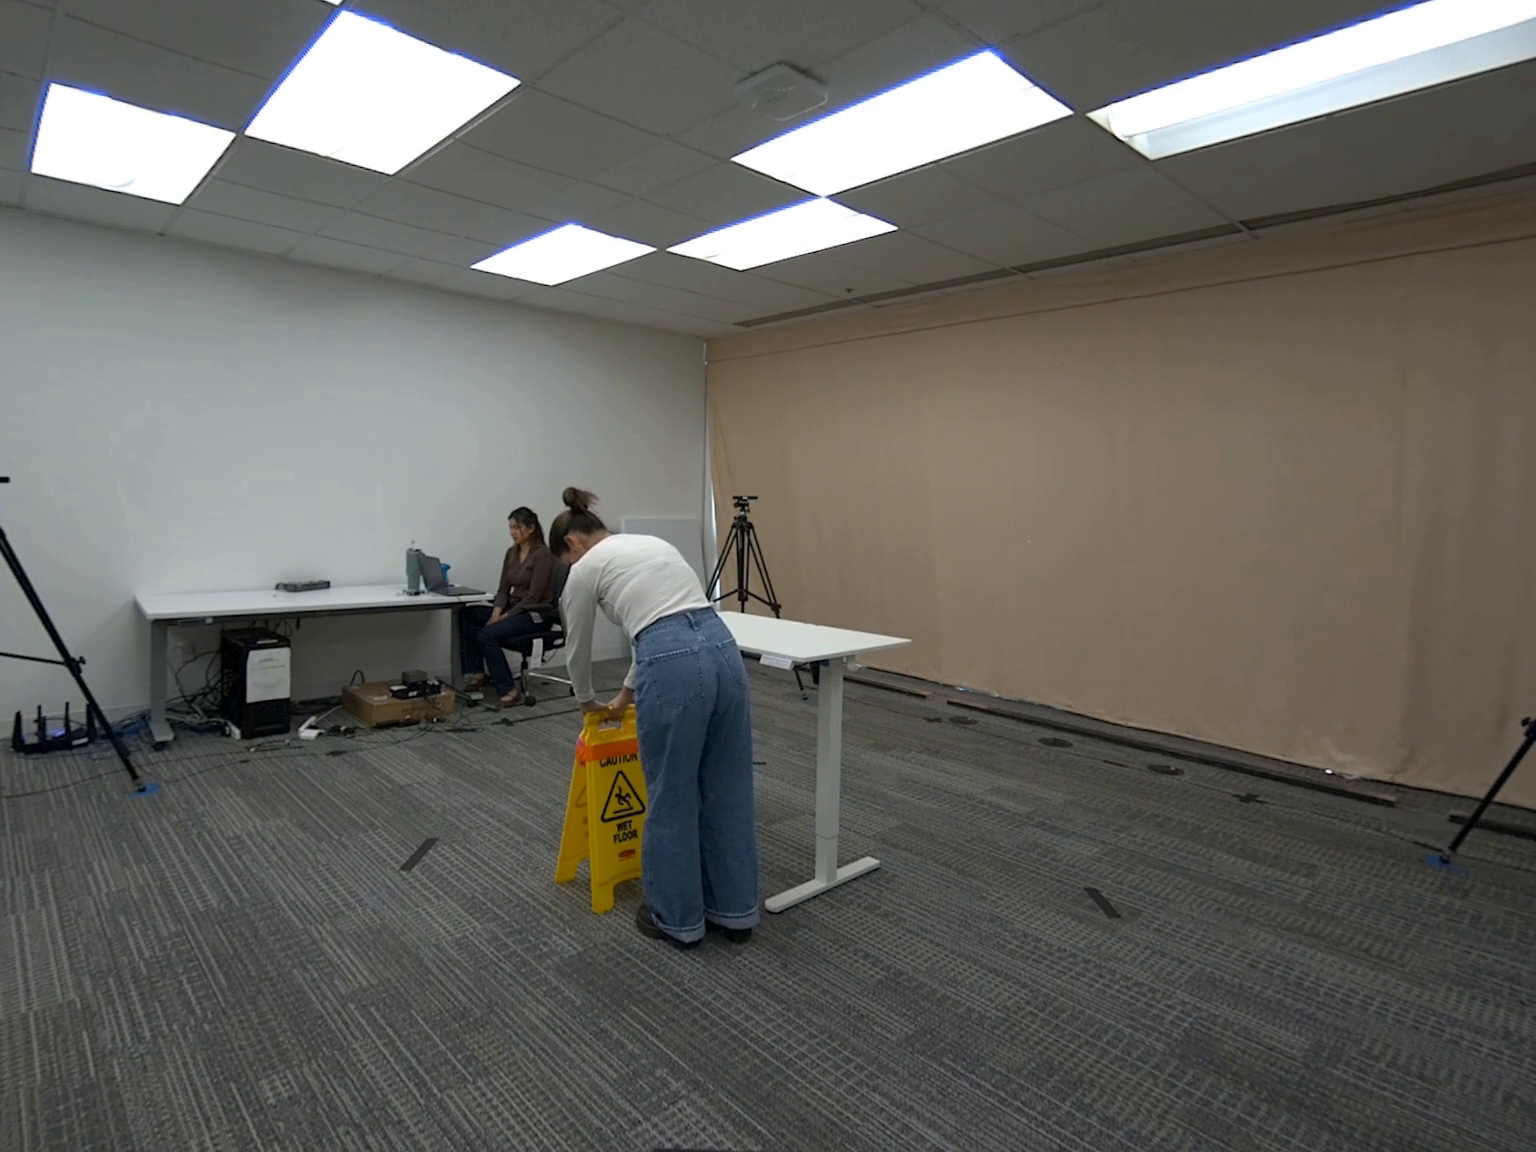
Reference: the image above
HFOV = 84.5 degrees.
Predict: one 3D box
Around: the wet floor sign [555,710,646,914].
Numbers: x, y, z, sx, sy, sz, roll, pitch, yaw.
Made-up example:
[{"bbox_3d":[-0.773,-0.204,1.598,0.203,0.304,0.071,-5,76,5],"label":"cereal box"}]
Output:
[{"bbox_3d":[-0.560,0.783,2.959,0.276,0.644,0.297,-2,5,-40],"label":"wet floor sign"}]
